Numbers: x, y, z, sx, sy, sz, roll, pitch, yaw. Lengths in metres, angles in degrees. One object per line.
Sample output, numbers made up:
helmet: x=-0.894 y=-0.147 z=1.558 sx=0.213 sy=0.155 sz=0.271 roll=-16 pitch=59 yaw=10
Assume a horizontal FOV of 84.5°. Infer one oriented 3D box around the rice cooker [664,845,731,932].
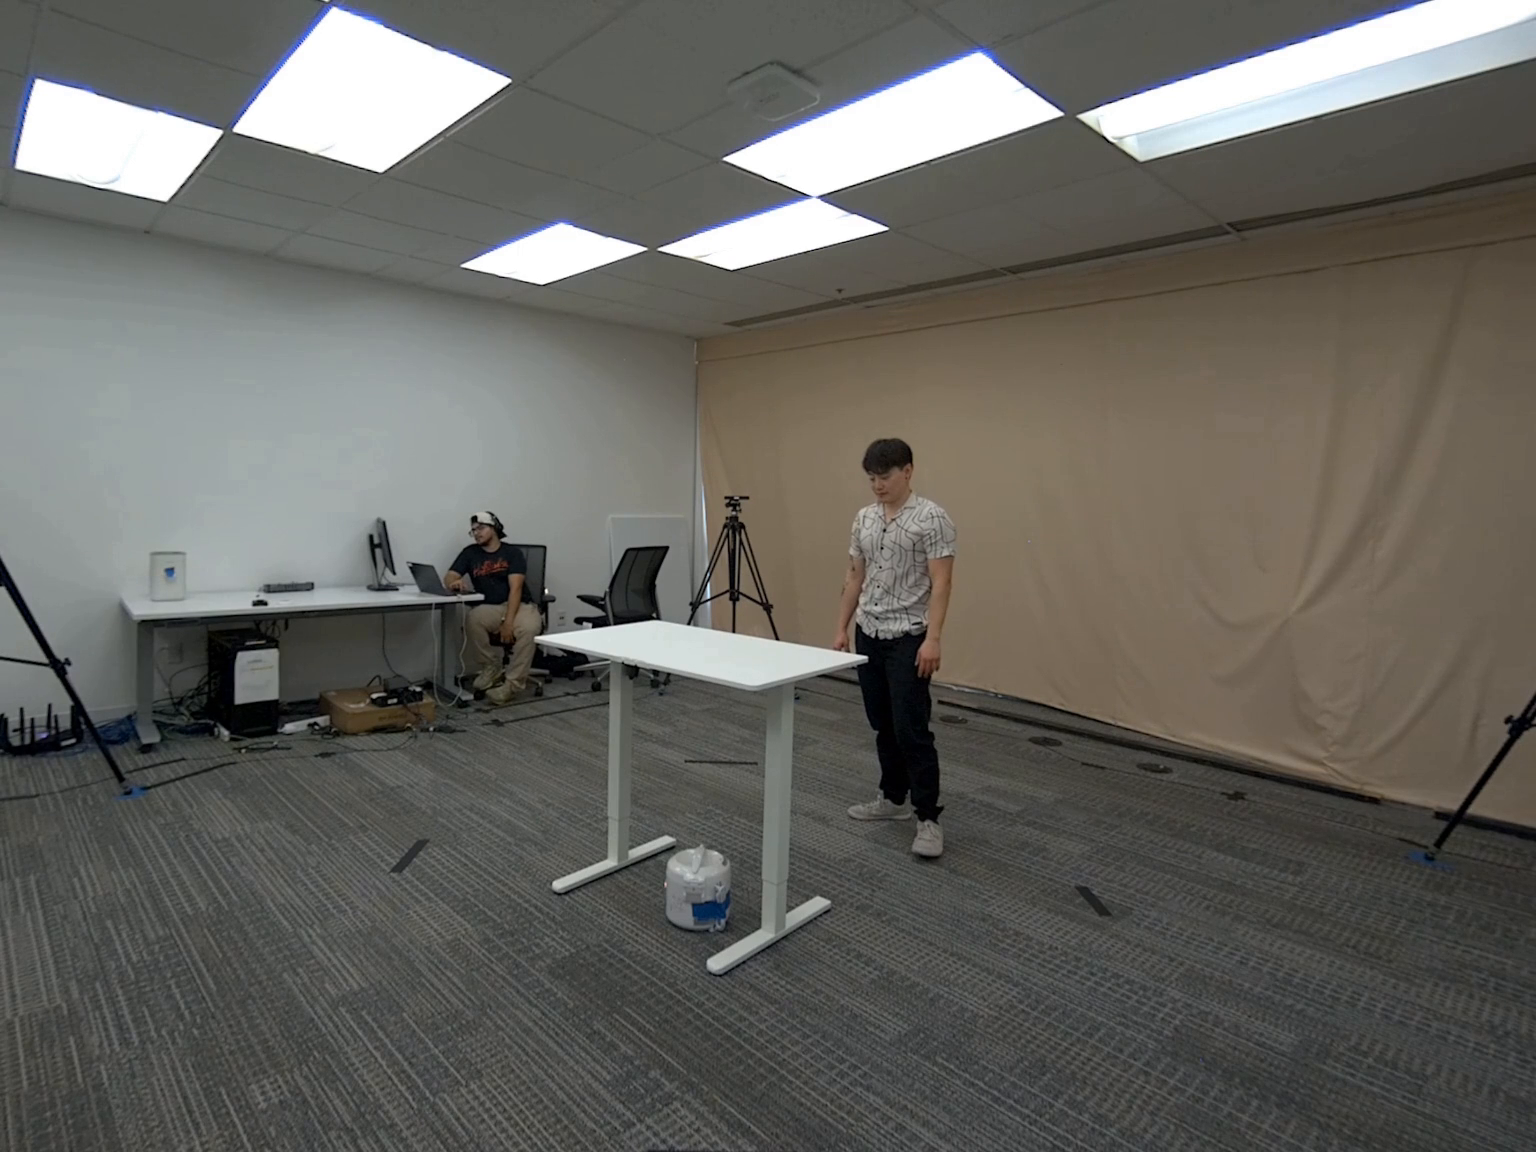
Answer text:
rice cooker: x=-0.237 y=1.016 z=2.765 sx=0.218 sy=0.232 sz=0.220 roll=2 pitch=4 yaw=6
